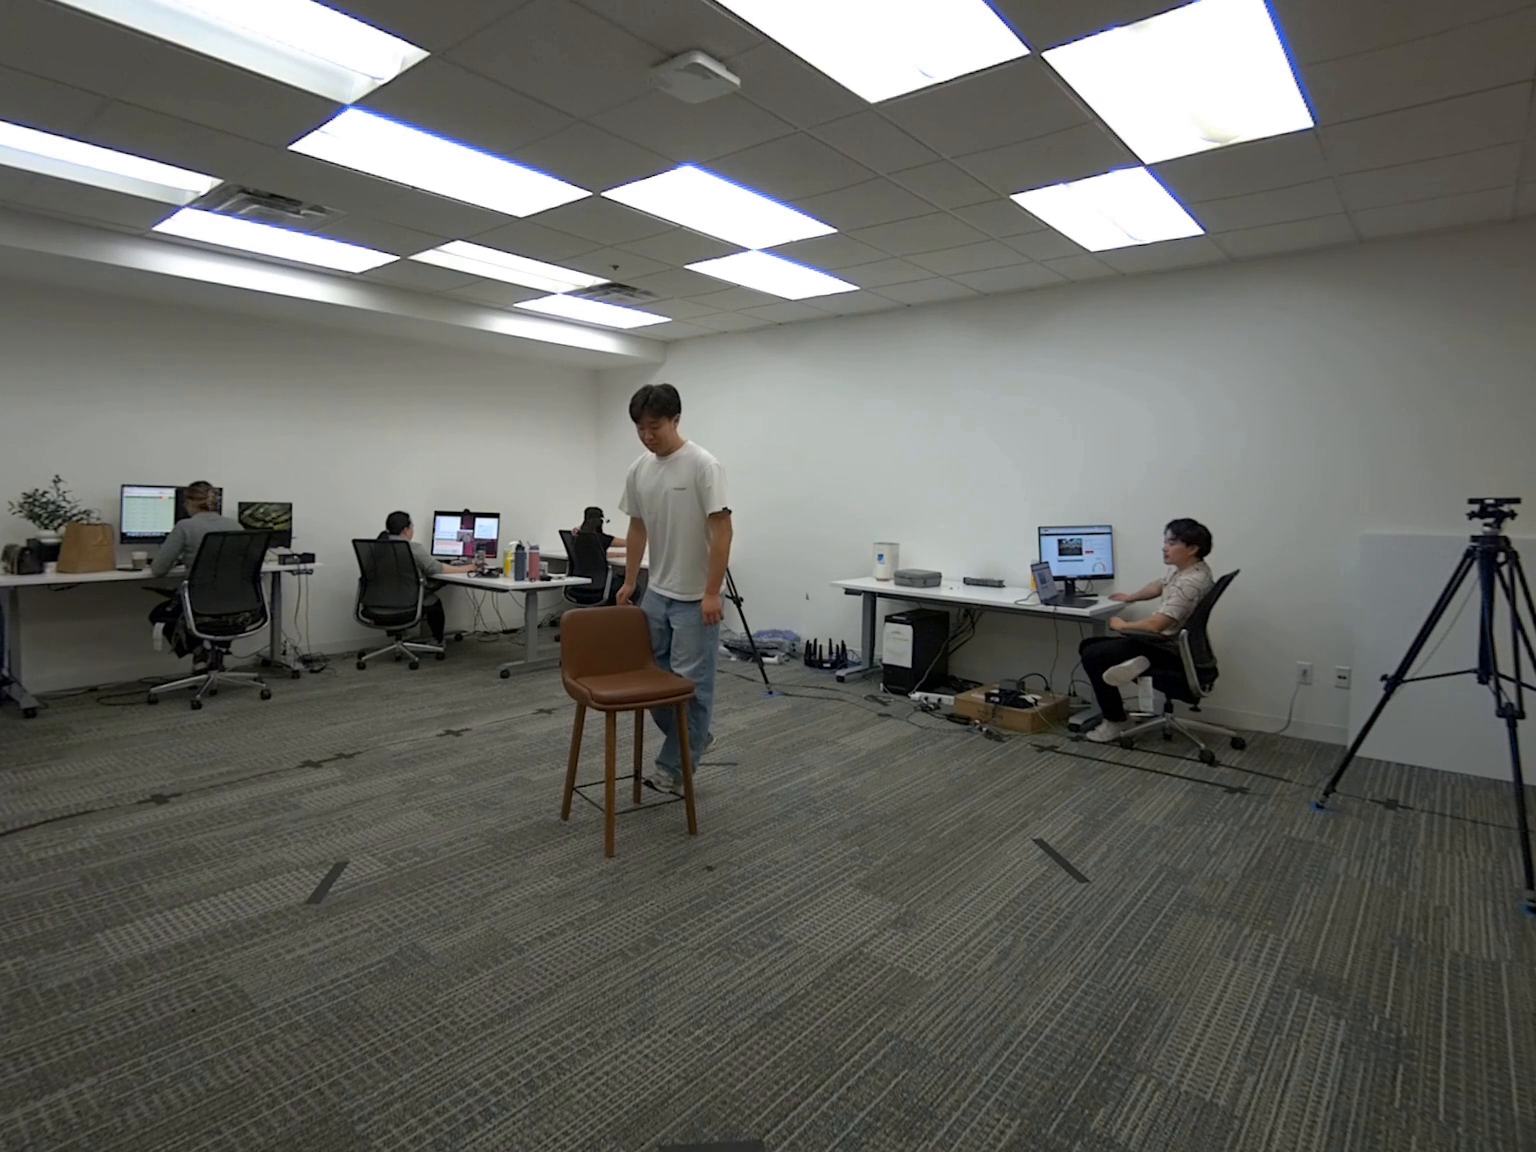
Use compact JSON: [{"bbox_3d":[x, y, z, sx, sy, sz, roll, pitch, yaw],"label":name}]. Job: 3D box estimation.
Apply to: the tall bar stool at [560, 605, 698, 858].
[{"bbox_3d":[-0.595,0.592,3.457,0.443,0.888,0.482,-2,3,-37],"label":"tall bar stool"}]
